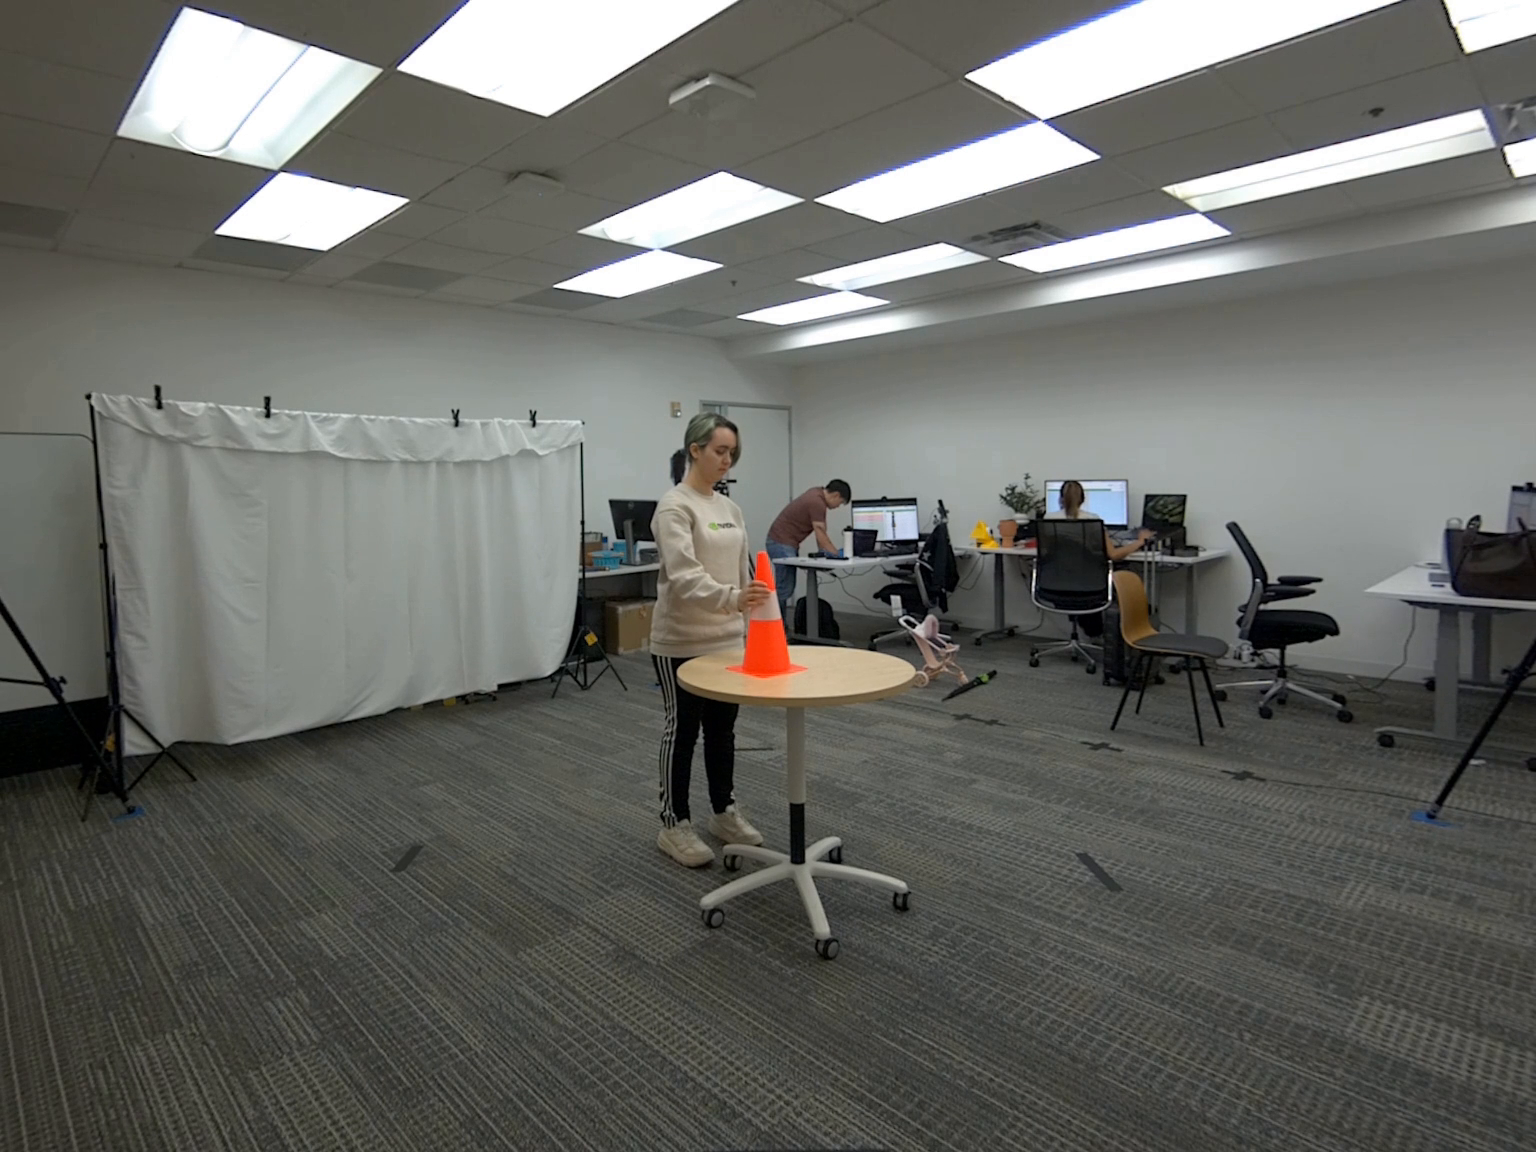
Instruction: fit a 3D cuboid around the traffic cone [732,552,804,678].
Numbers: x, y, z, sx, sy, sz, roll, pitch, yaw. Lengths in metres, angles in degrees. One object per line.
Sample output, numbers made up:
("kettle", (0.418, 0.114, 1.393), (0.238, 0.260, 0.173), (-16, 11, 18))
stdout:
("traffic cone", (-0.011, 0.121, 2.744), (0.210, 0.381, 0.200), (4, 11, 44))
